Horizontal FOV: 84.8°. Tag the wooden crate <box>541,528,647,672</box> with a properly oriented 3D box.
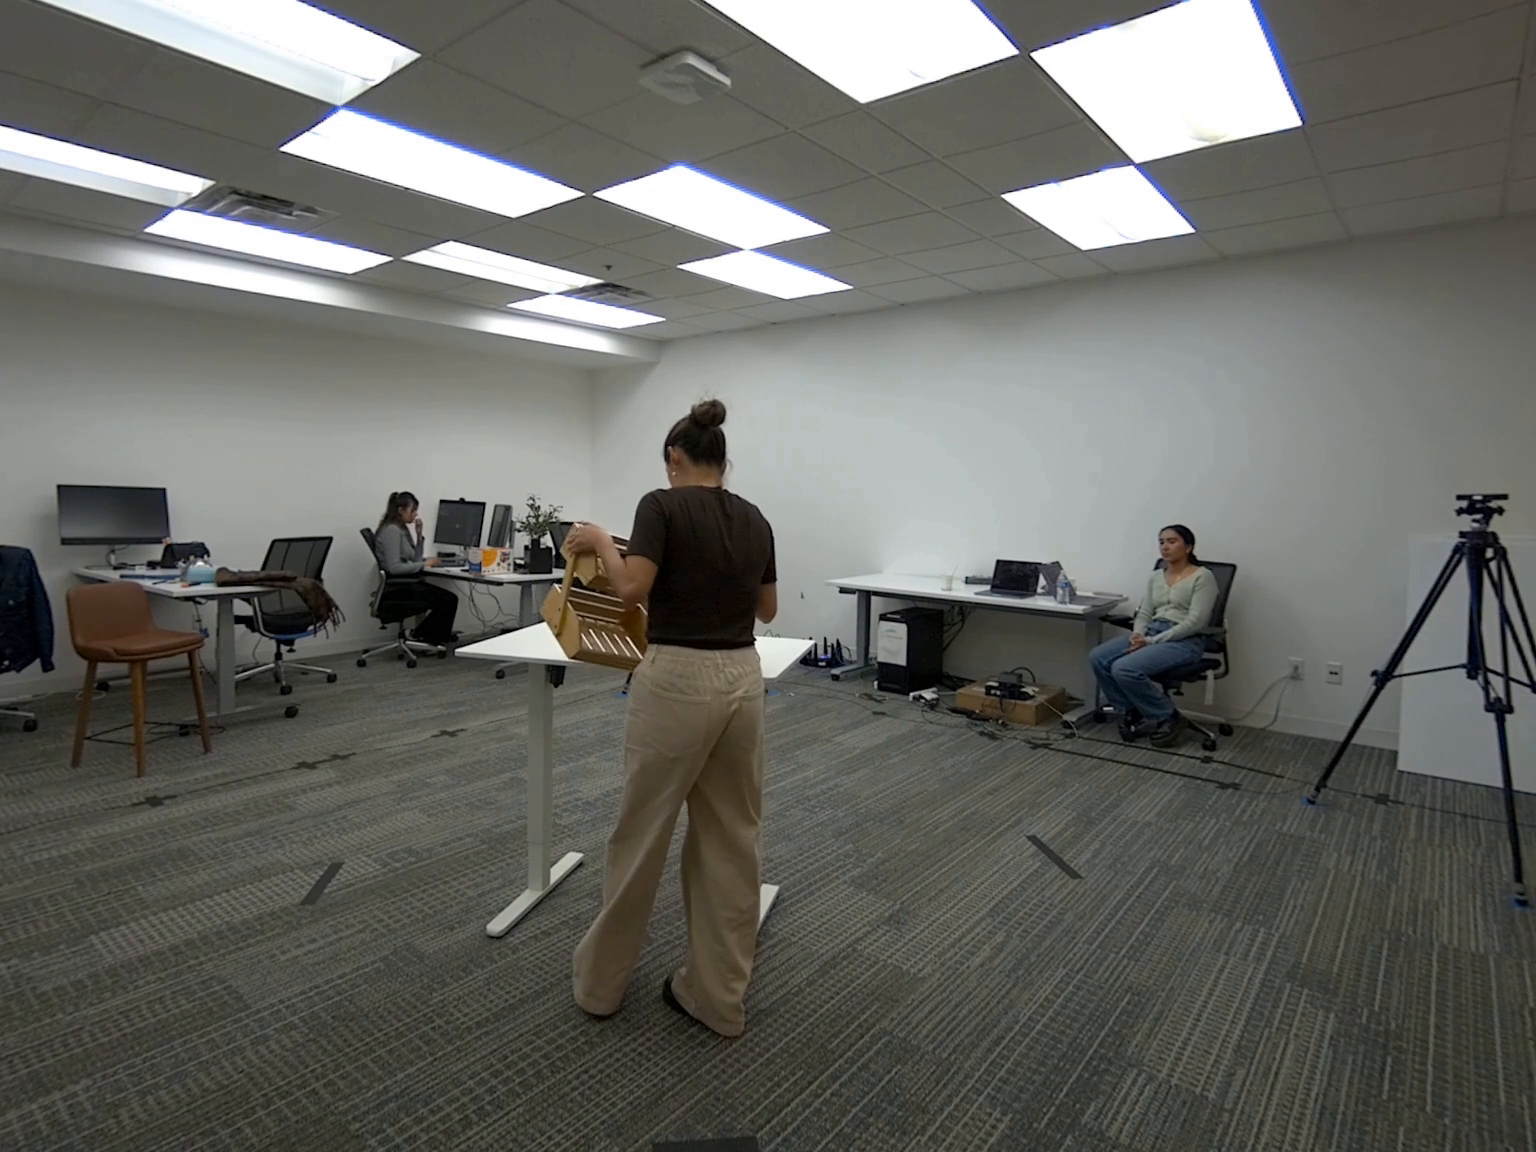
[{"bbox_3d":[-0.418,0.063,2.329,0.312,0.272,0.315,18,17,-42],"label":"wooden crate"}]
